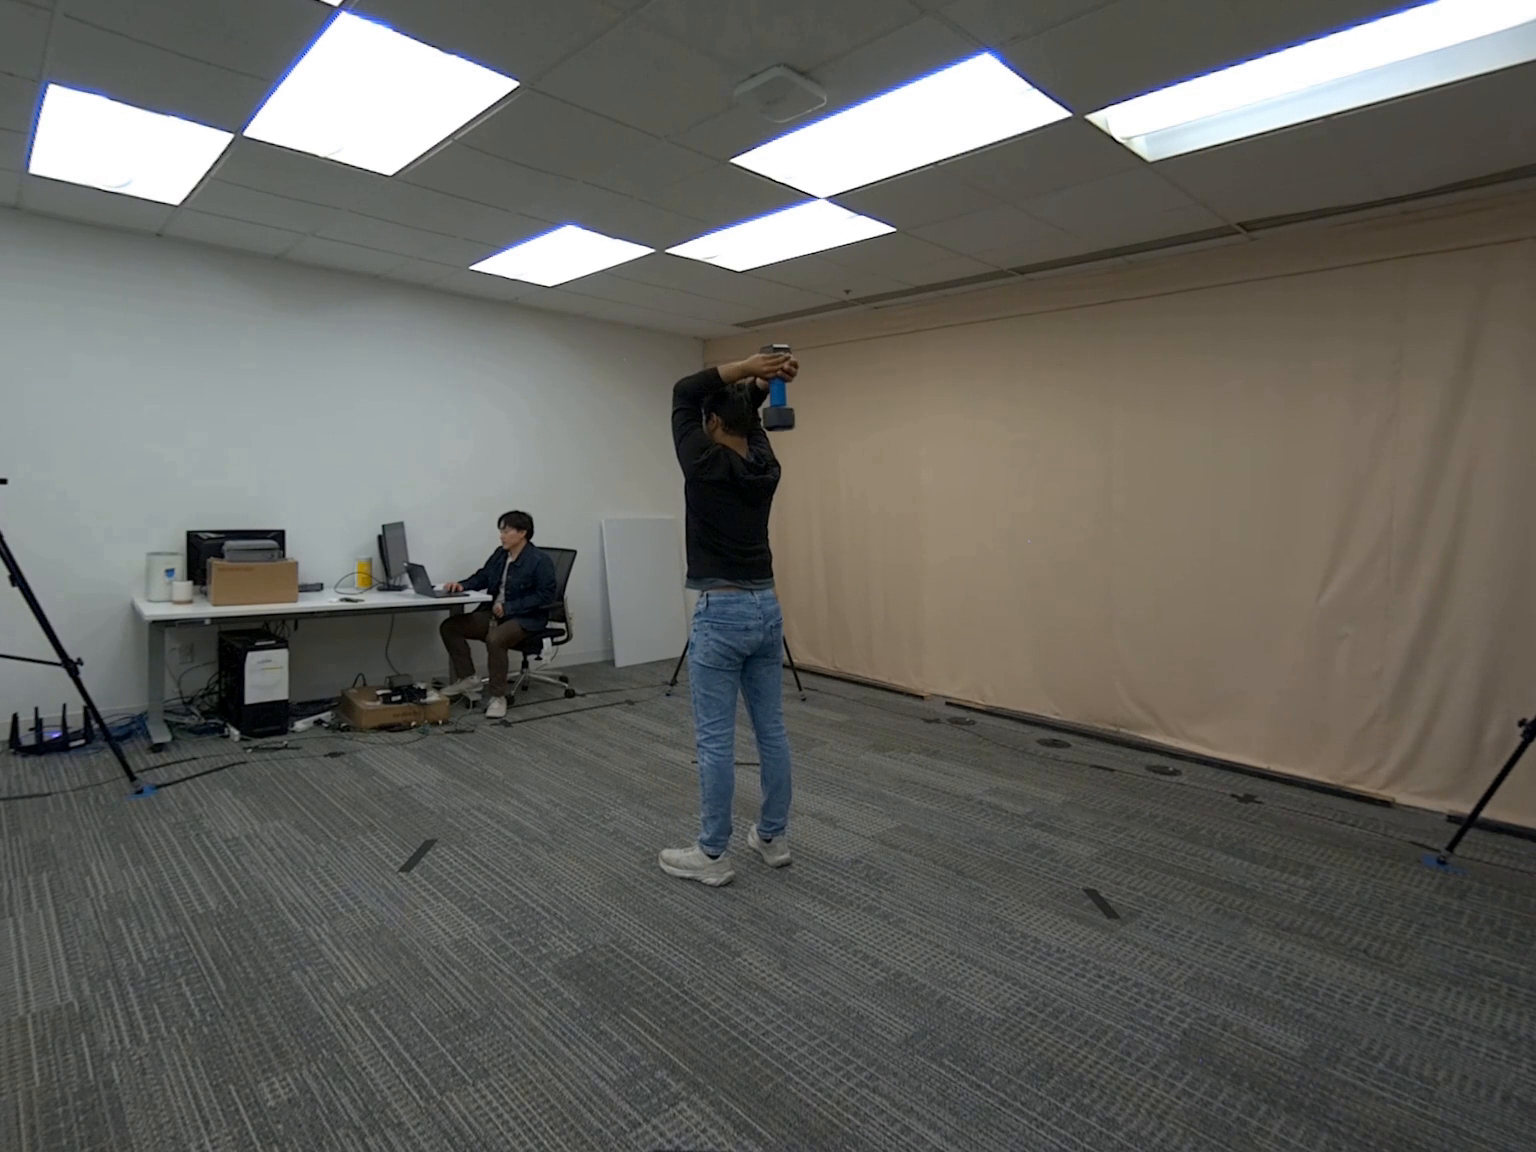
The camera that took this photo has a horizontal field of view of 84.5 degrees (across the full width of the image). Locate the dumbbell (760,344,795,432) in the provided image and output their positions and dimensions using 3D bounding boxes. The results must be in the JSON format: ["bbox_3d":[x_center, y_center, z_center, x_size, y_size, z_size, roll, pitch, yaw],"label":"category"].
[{"bbox_3d":[0.019,-0.663,2.974,0.121,0.293,0.111,-5,3,-28],"label":"dumbbell"}]
